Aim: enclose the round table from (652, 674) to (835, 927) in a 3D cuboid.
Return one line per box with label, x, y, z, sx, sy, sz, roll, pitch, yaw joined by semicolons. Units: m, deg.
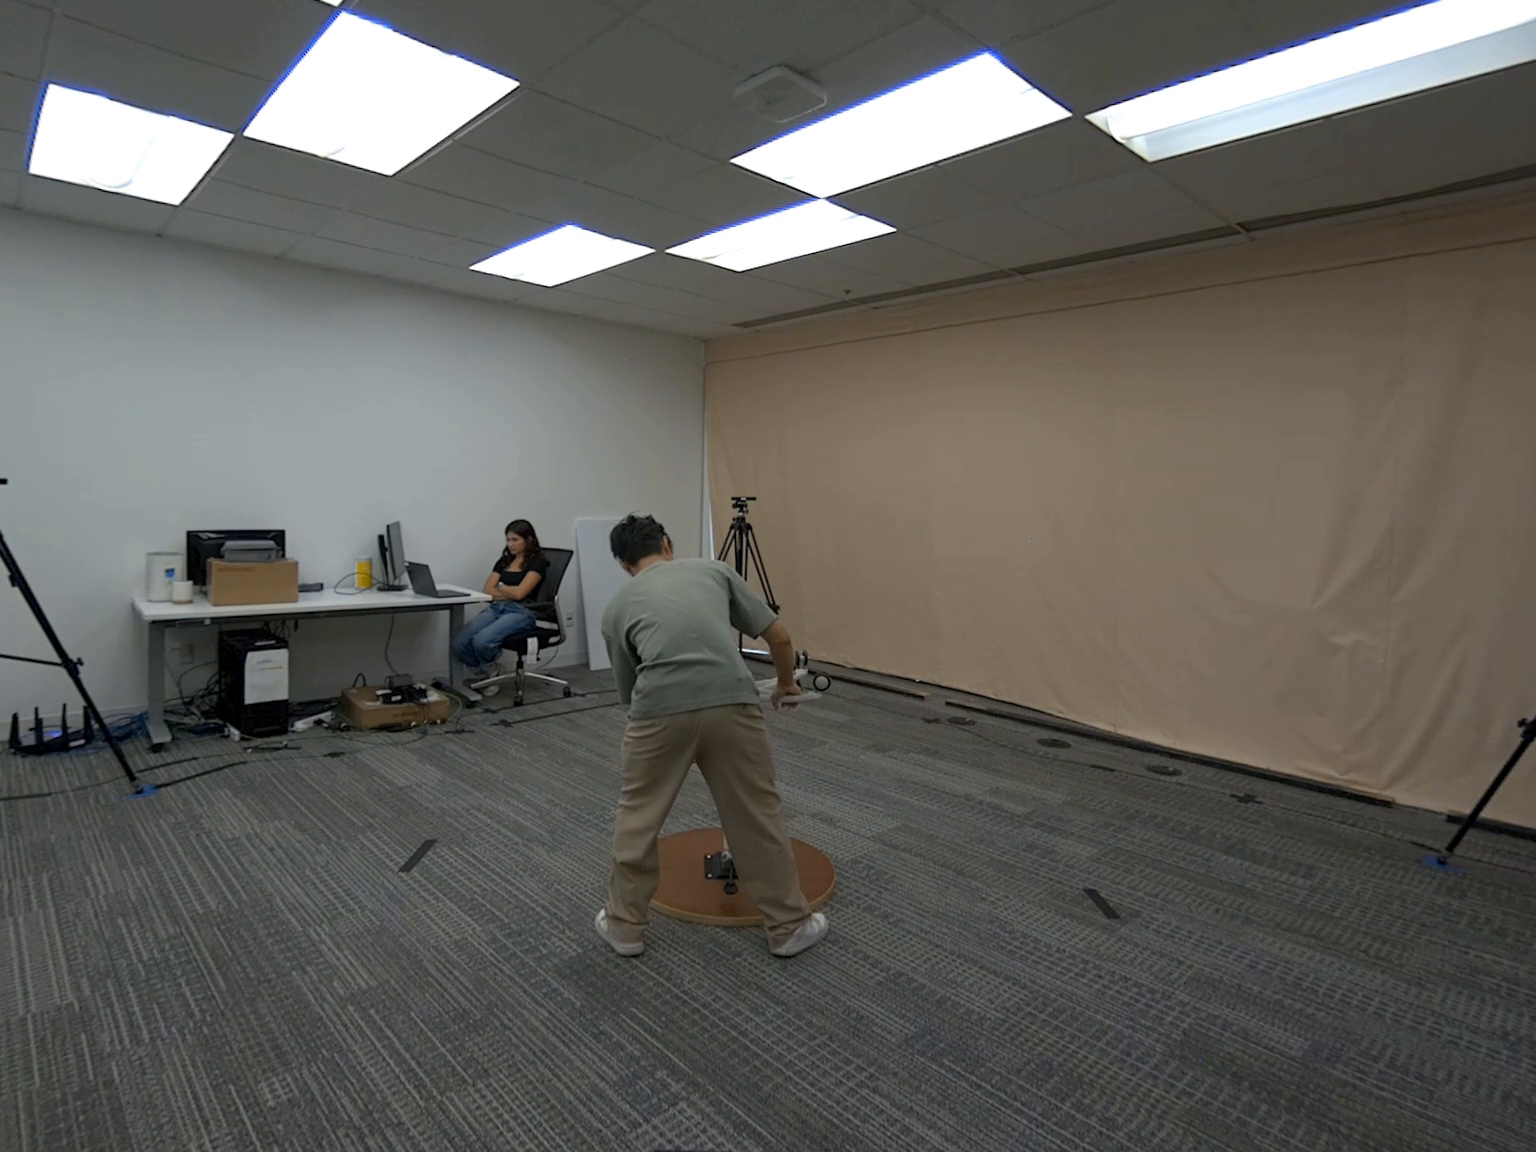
round table;-0.117;0.709;3.101;0.784;0.784;0.788;1;4;-1
